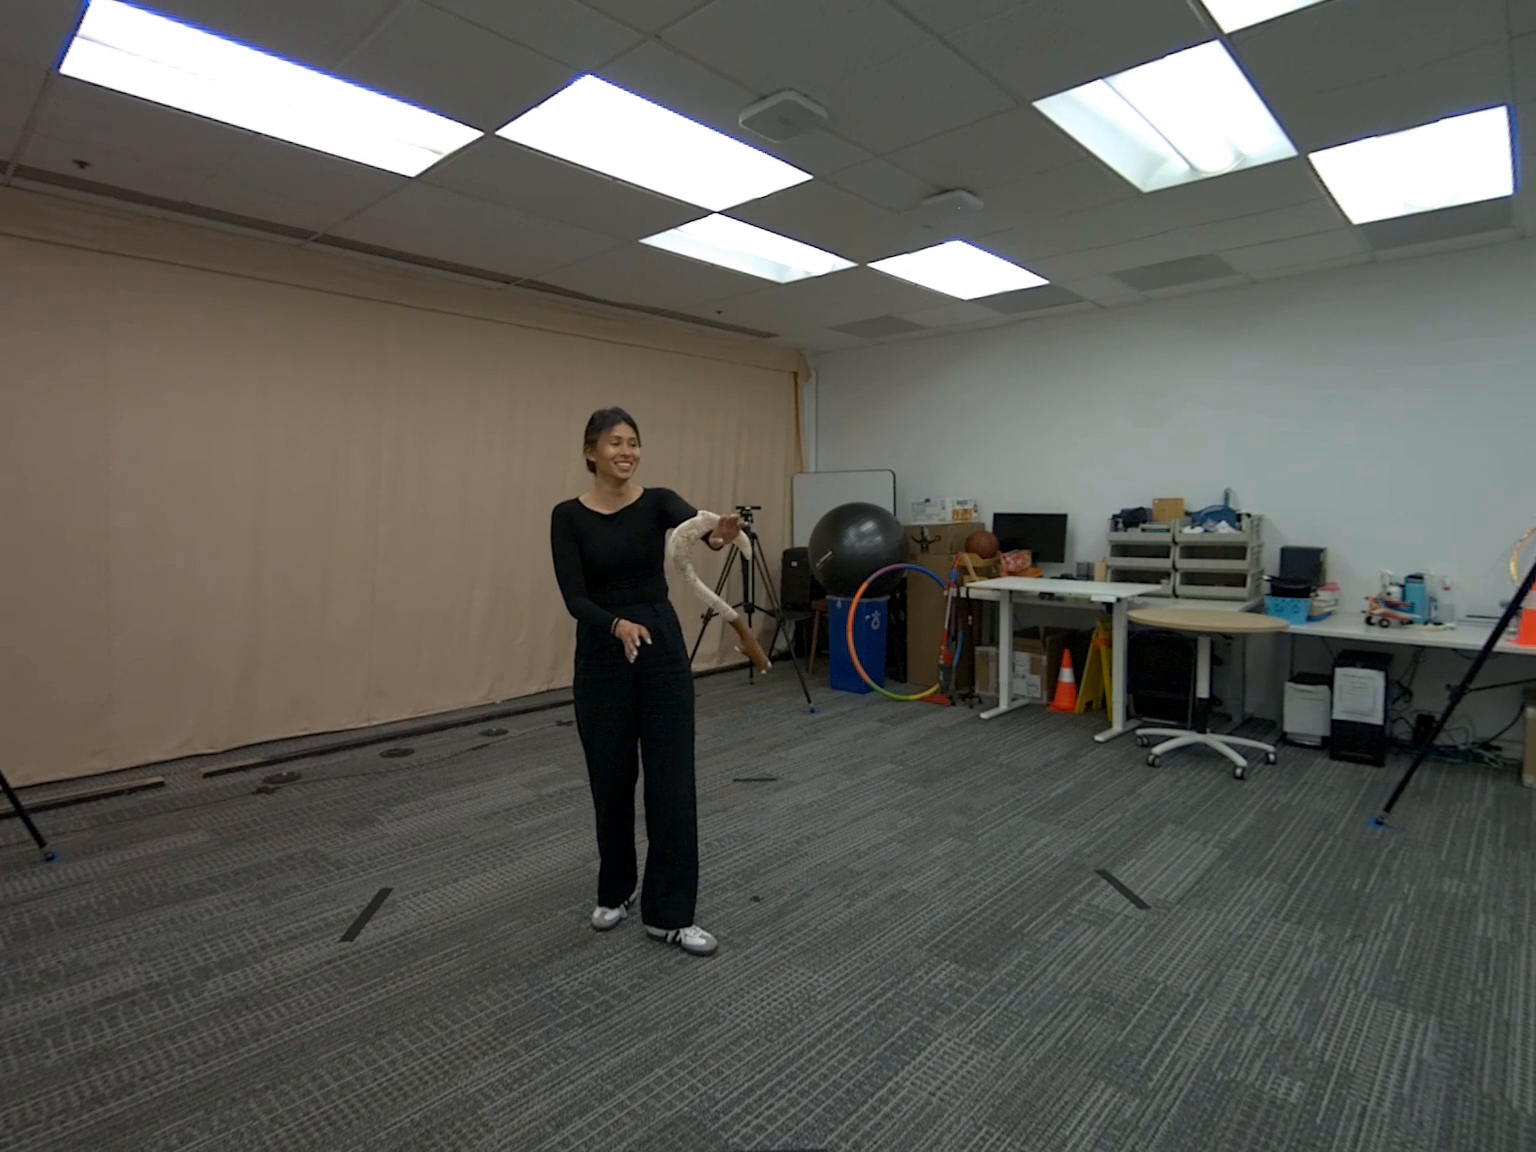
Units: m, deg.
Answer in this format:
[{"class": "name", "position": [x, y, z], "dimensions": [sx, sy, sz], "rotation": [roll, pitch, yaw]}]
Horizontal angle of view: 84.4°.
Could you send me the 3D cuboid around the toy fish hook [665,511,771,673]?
[{"class": "toy fish hook", "position": [-0.091, 0.047, 2.375], "dimensions": [0.225, 0.497, 0.049], "rotation": [-31, 18, 1]}]
